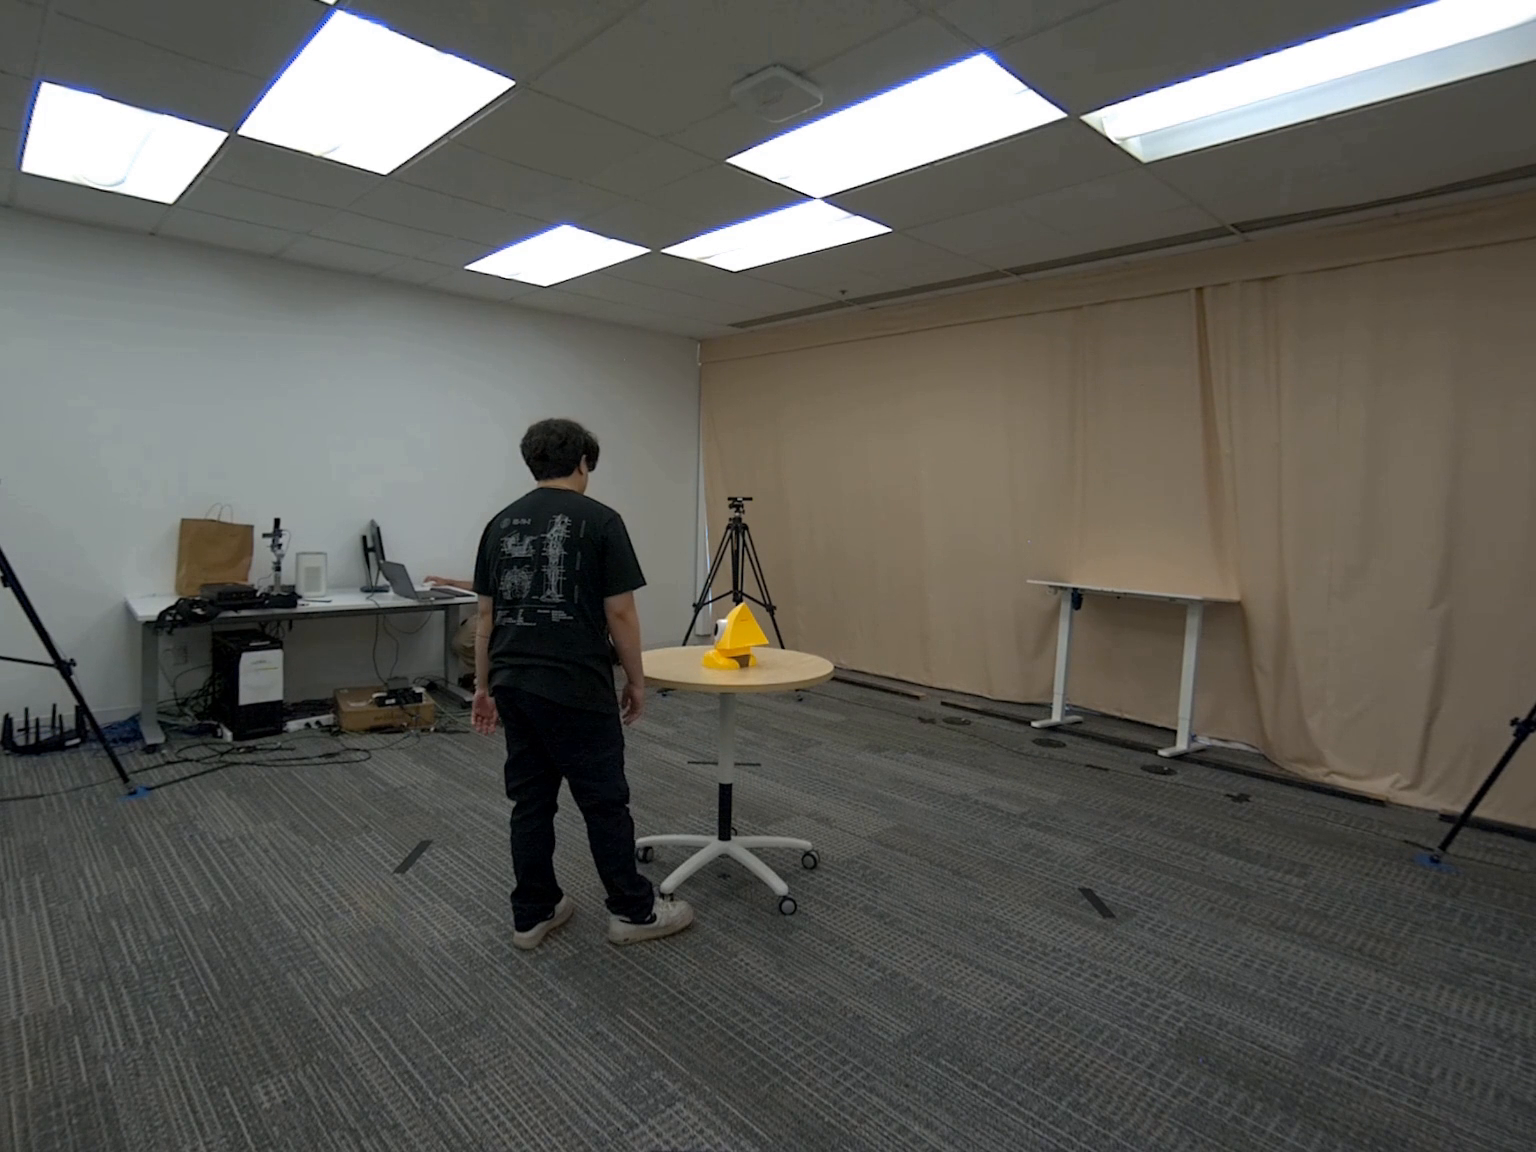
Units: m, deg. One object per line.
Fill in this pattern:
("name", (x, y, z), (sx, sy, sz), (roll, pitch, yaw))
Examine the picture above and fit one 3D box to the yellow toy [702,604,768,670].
("yellow toy", (-0.142, 0.206, 3.031), (0.198, 0.230, 0.200), (4, 5, 45))
